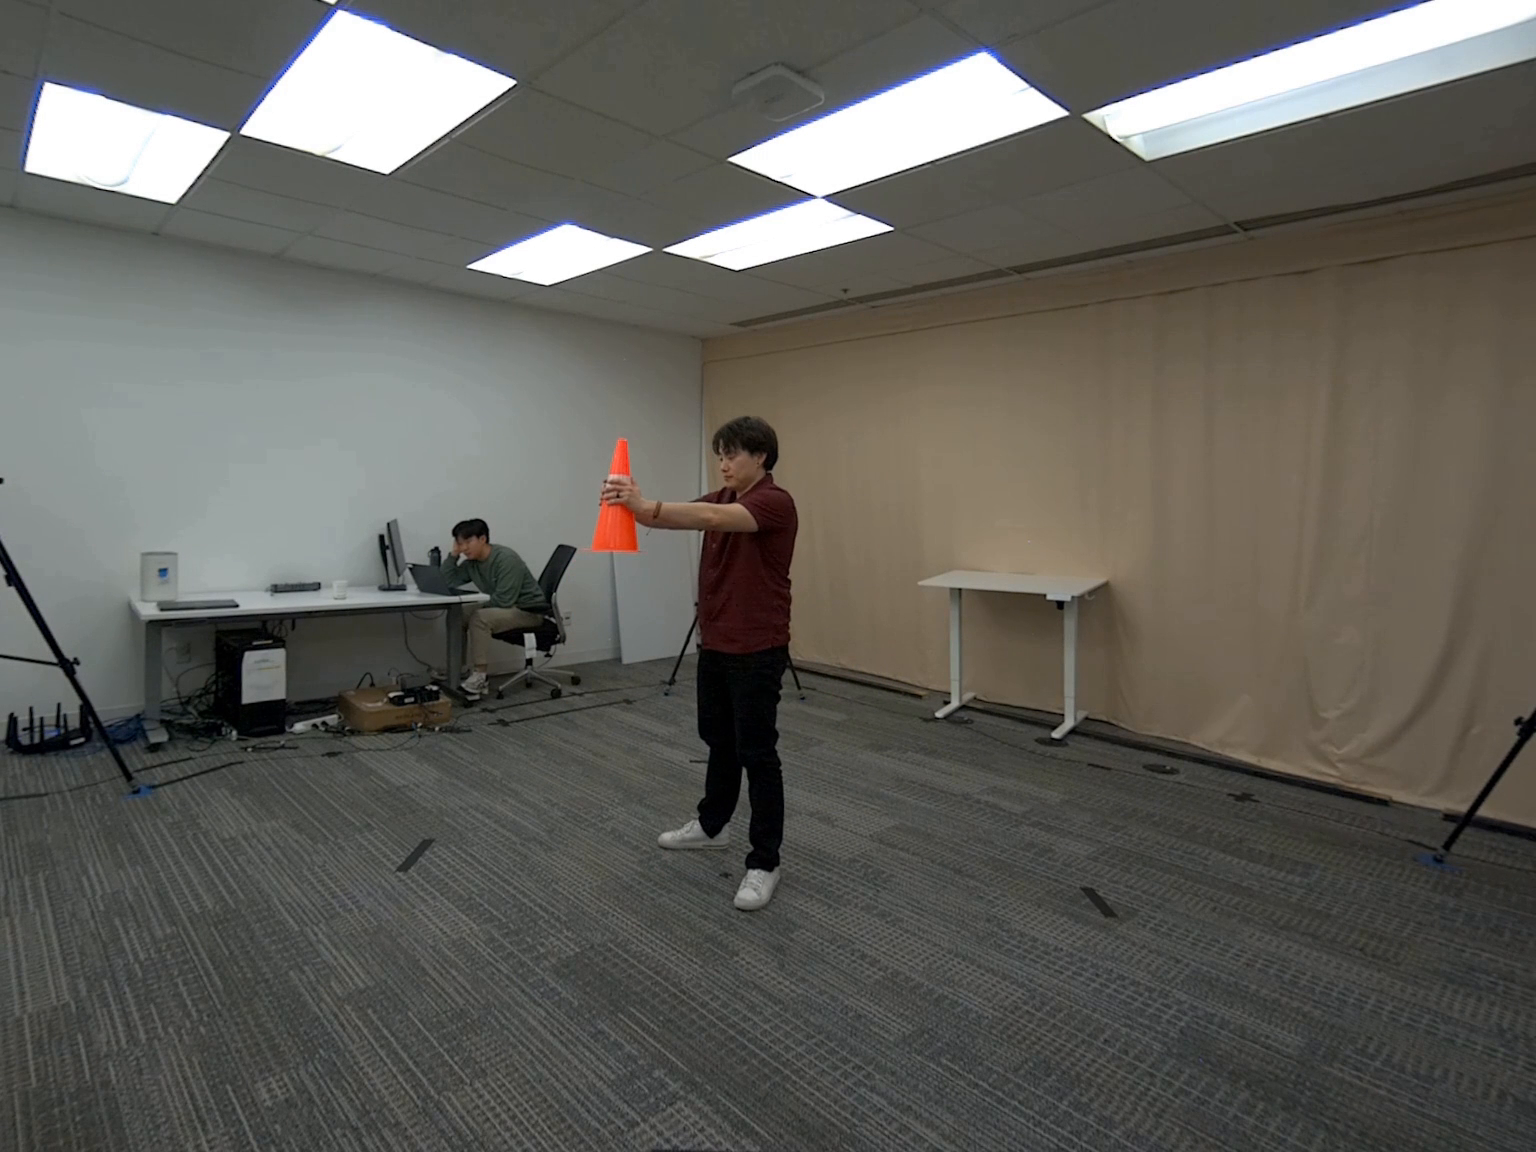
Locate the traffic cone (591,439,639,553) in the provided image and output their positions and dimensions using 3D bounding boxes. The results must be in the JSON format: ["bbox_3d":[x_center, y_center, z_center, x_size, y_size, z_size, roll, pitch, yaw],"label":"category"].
[{"bbox_3d":[-0.520,-0.272,2.842,0.210,0.383,0.198,6,4,37],"label":"traffic cone"}]
